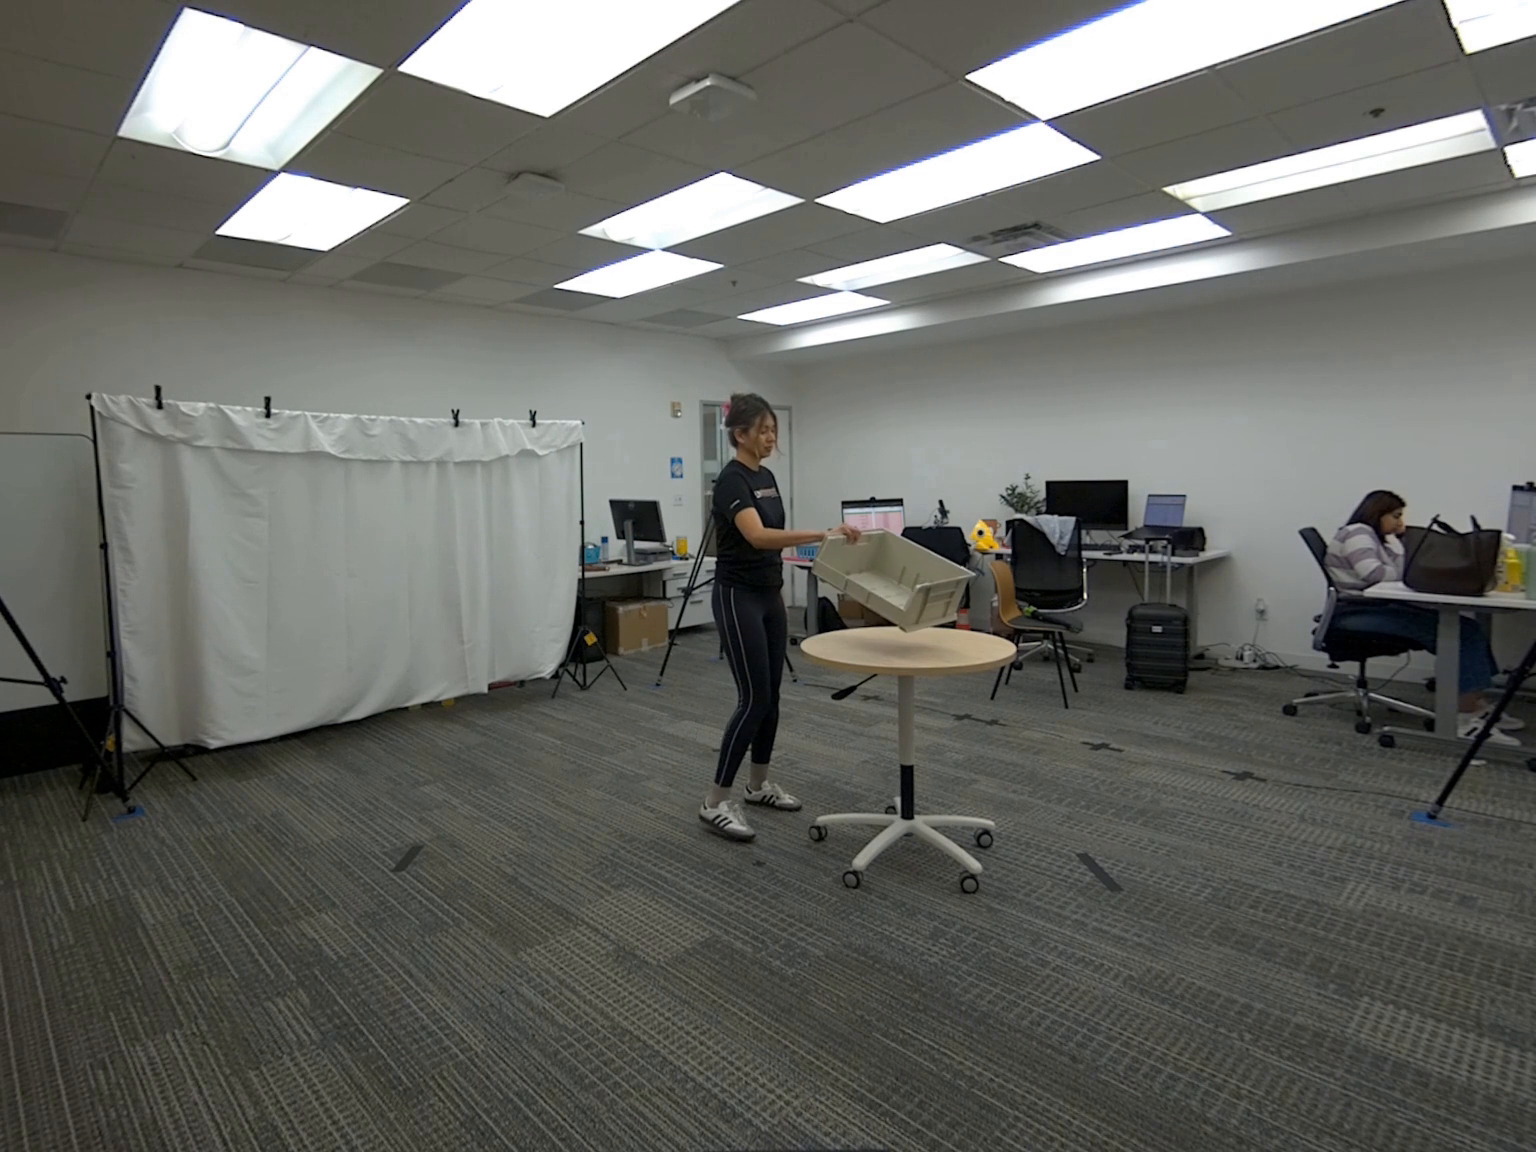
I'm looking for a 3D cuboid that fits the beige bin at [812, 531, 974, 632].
[{"bbox_3d":[0.444,0.011,3.025,0.367,0.186,0.439,-7,29,-43],"label":"beige bin"}]
